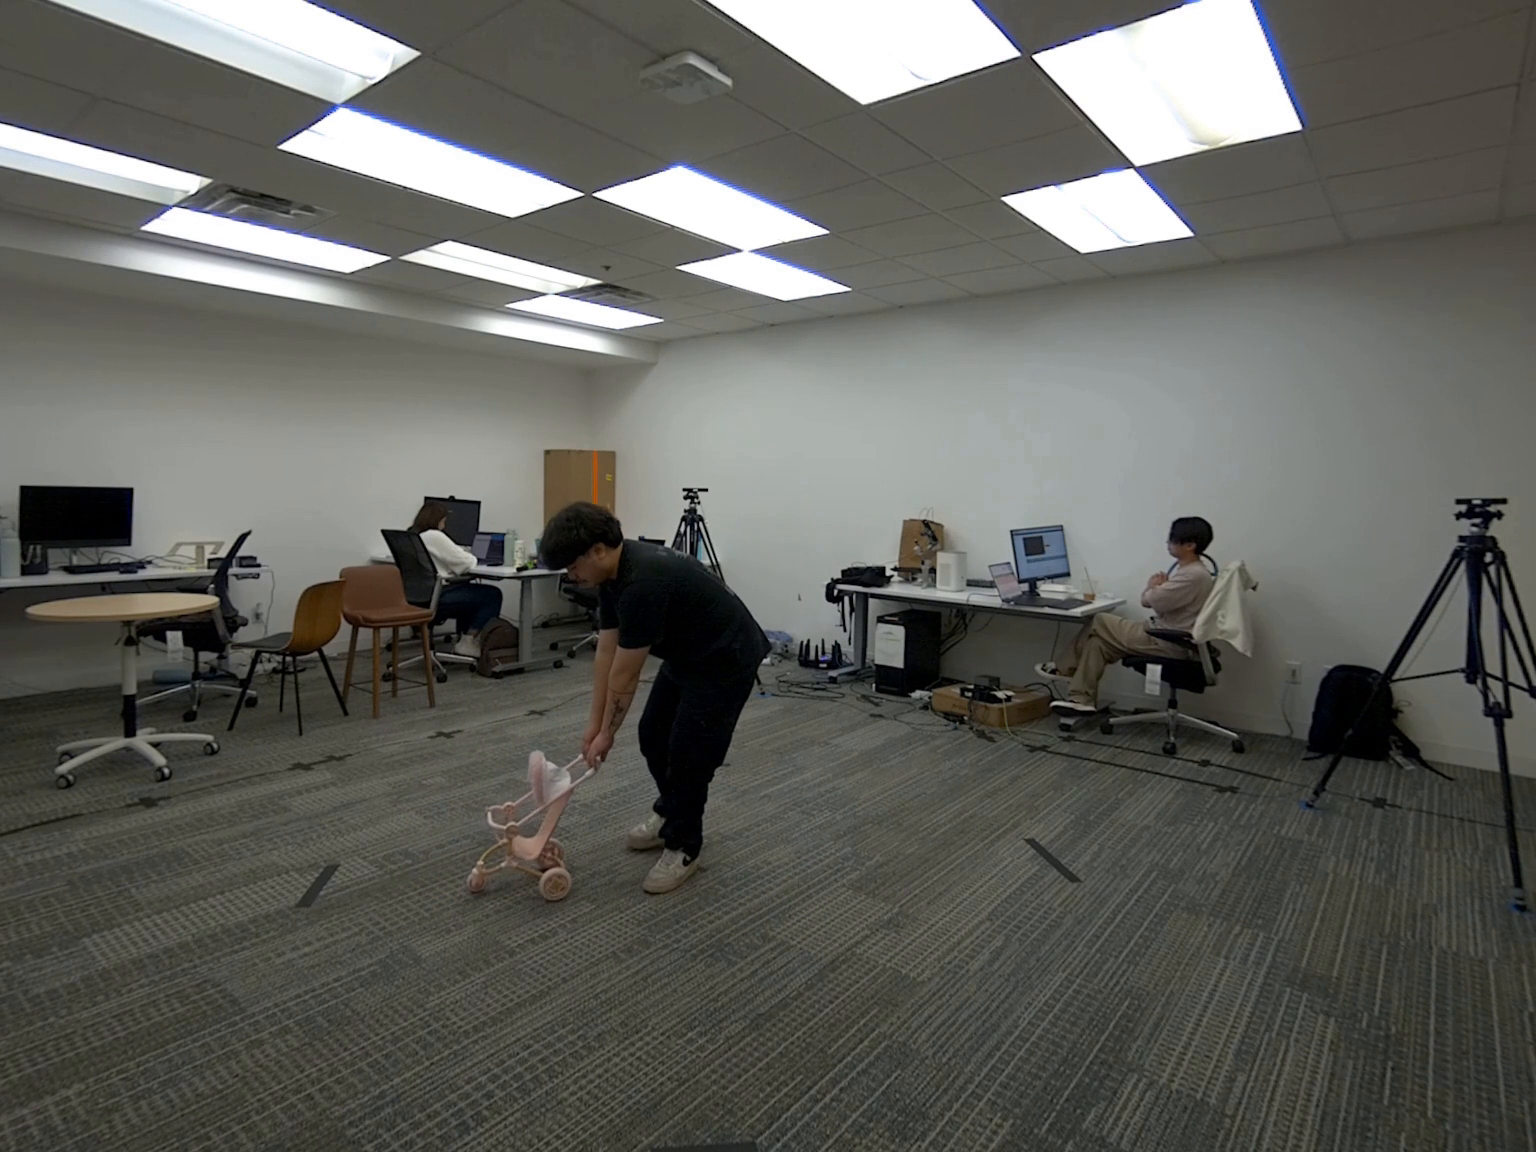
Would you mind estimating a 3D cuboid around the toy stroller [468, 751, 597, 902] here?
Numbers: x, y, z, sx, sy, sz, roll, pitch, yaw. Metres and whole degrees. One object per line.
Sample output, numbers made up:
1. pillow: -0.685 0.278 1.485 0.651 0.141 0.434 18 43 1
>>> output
1. toy stroller: -0.831 0.851 2.951 0.336 0.535 0.286 15 -1 -13
